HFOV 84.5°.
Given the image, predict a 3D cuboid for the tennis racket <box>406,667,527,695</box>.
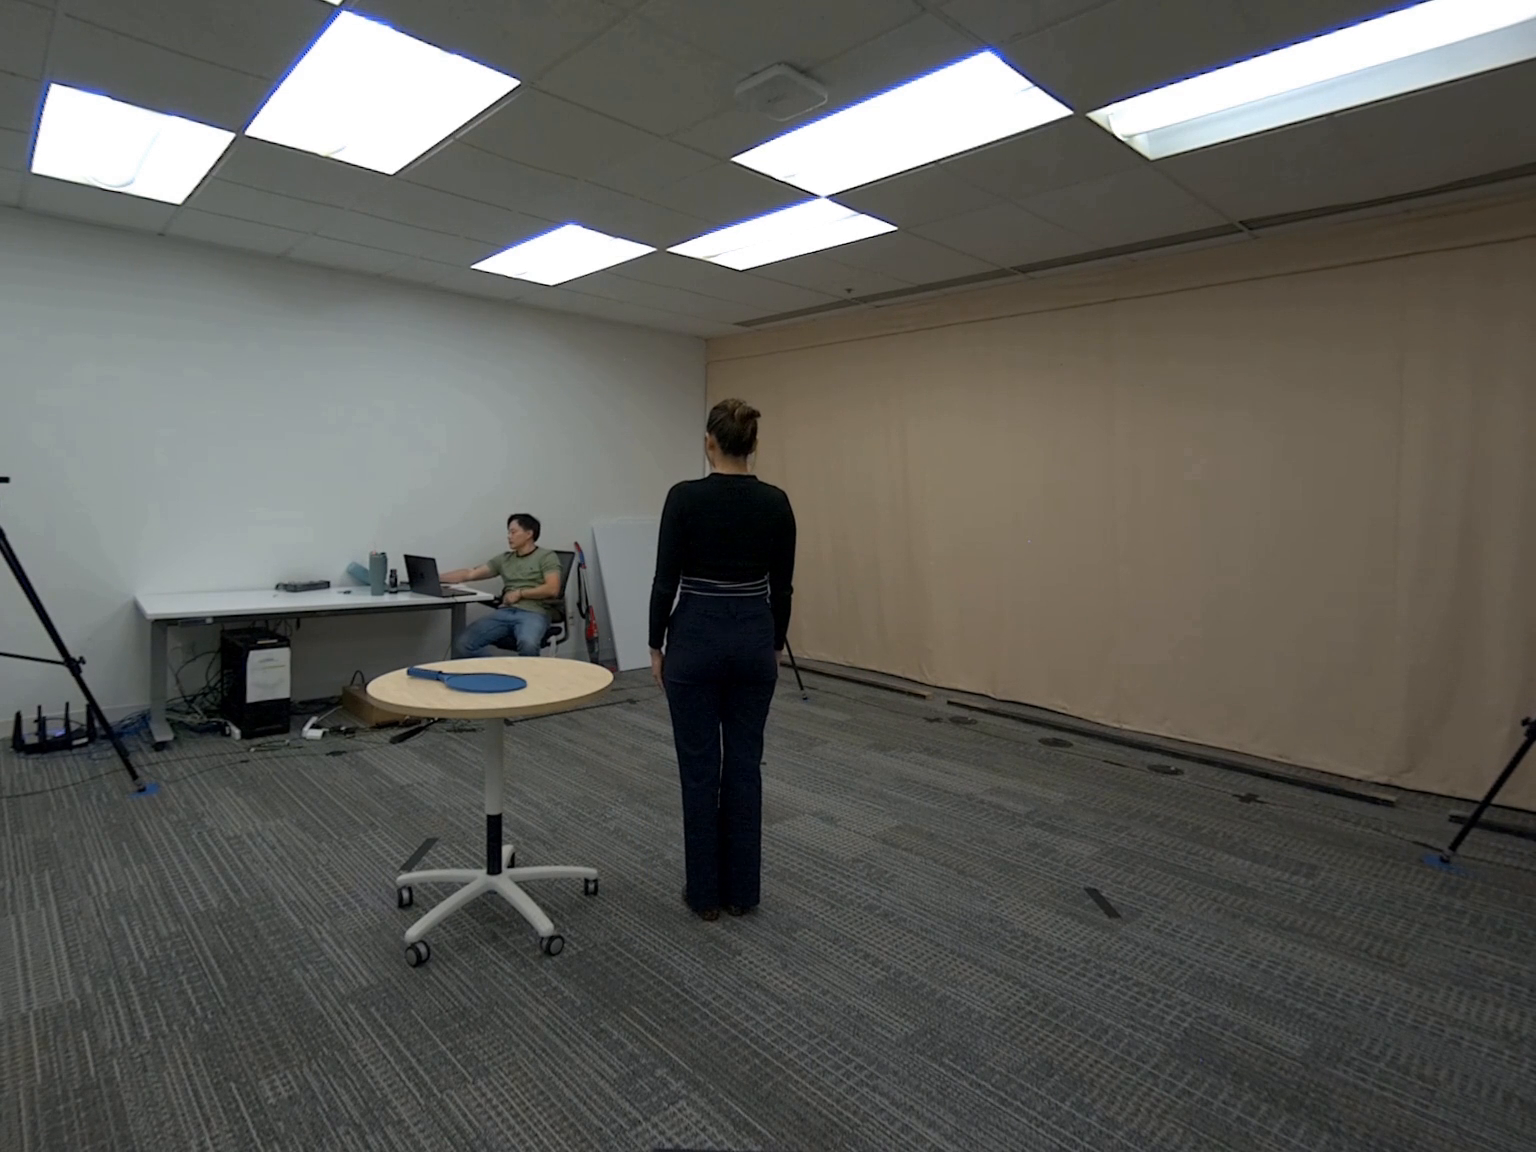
[{"bbox_3d":[-0.979,0.333,2.673,0.439,0.031,0.211,4,5,18],"label":"tennis racket"}]
